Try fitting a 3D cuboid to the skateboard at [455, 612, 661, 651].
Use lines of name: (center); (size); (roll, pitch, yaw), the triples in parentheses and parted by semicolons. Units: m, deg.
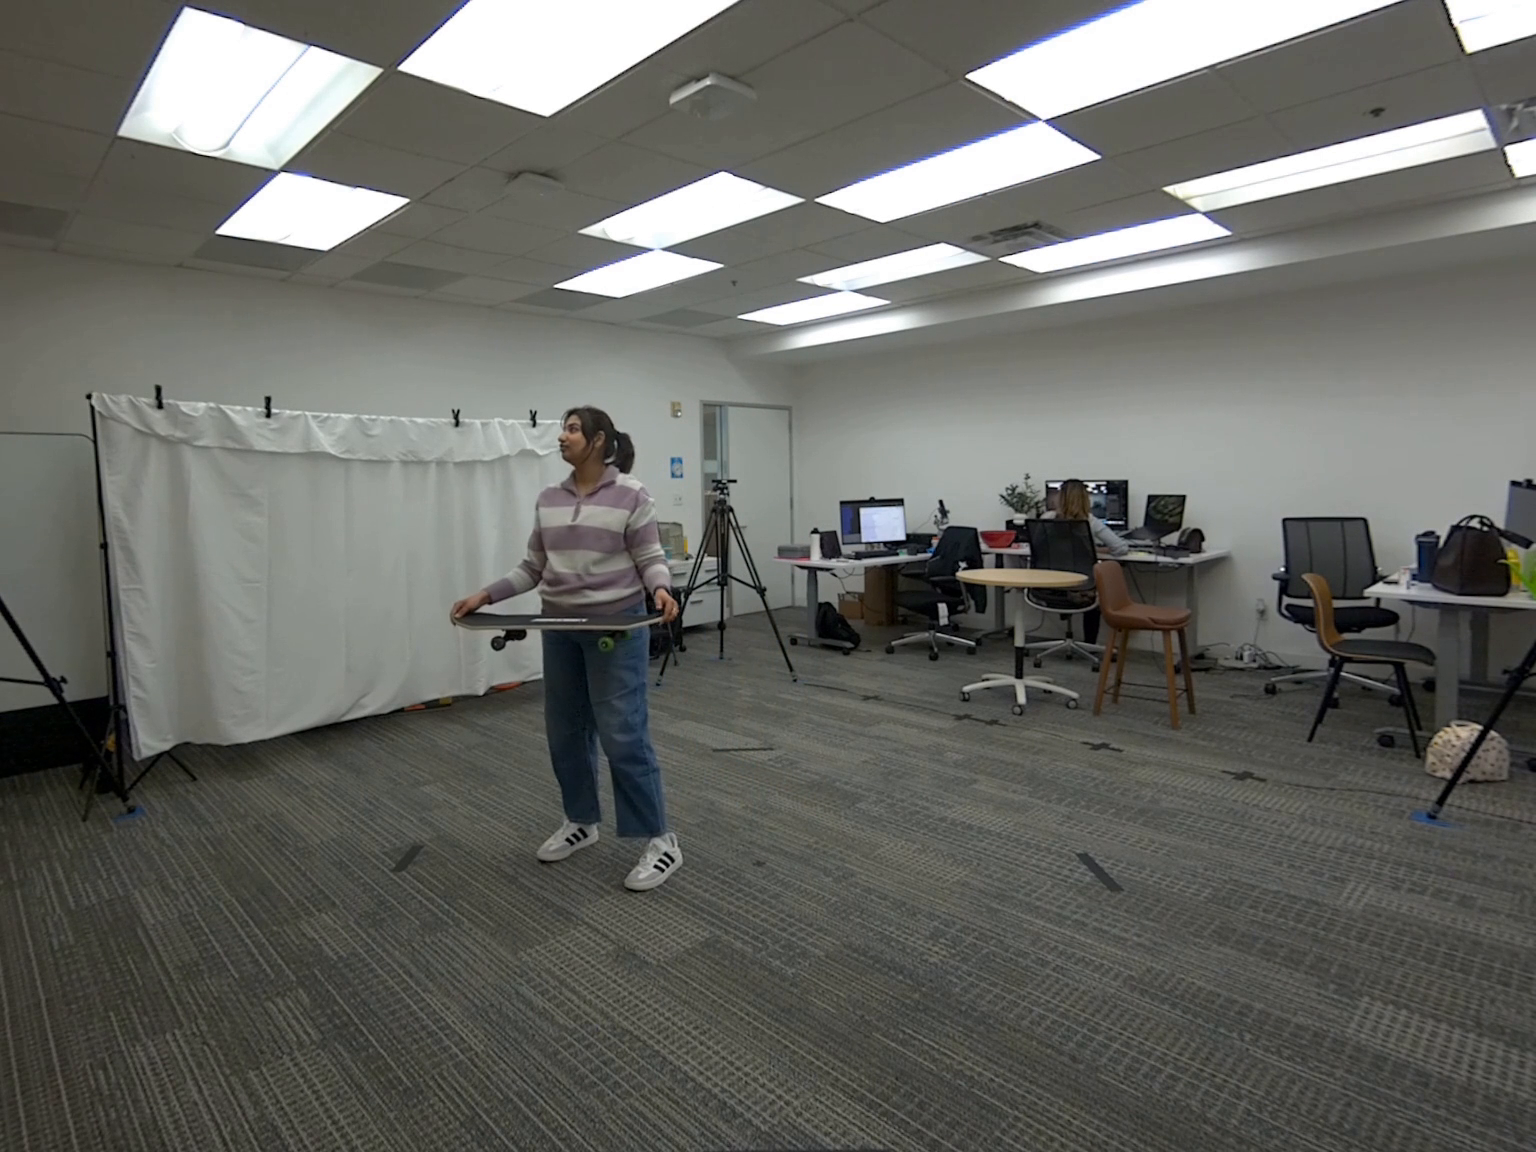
skateboard: (-0.704, 0.187, 2.929); (0.797, 0.109, 0.192); (-2, 9, 16)
